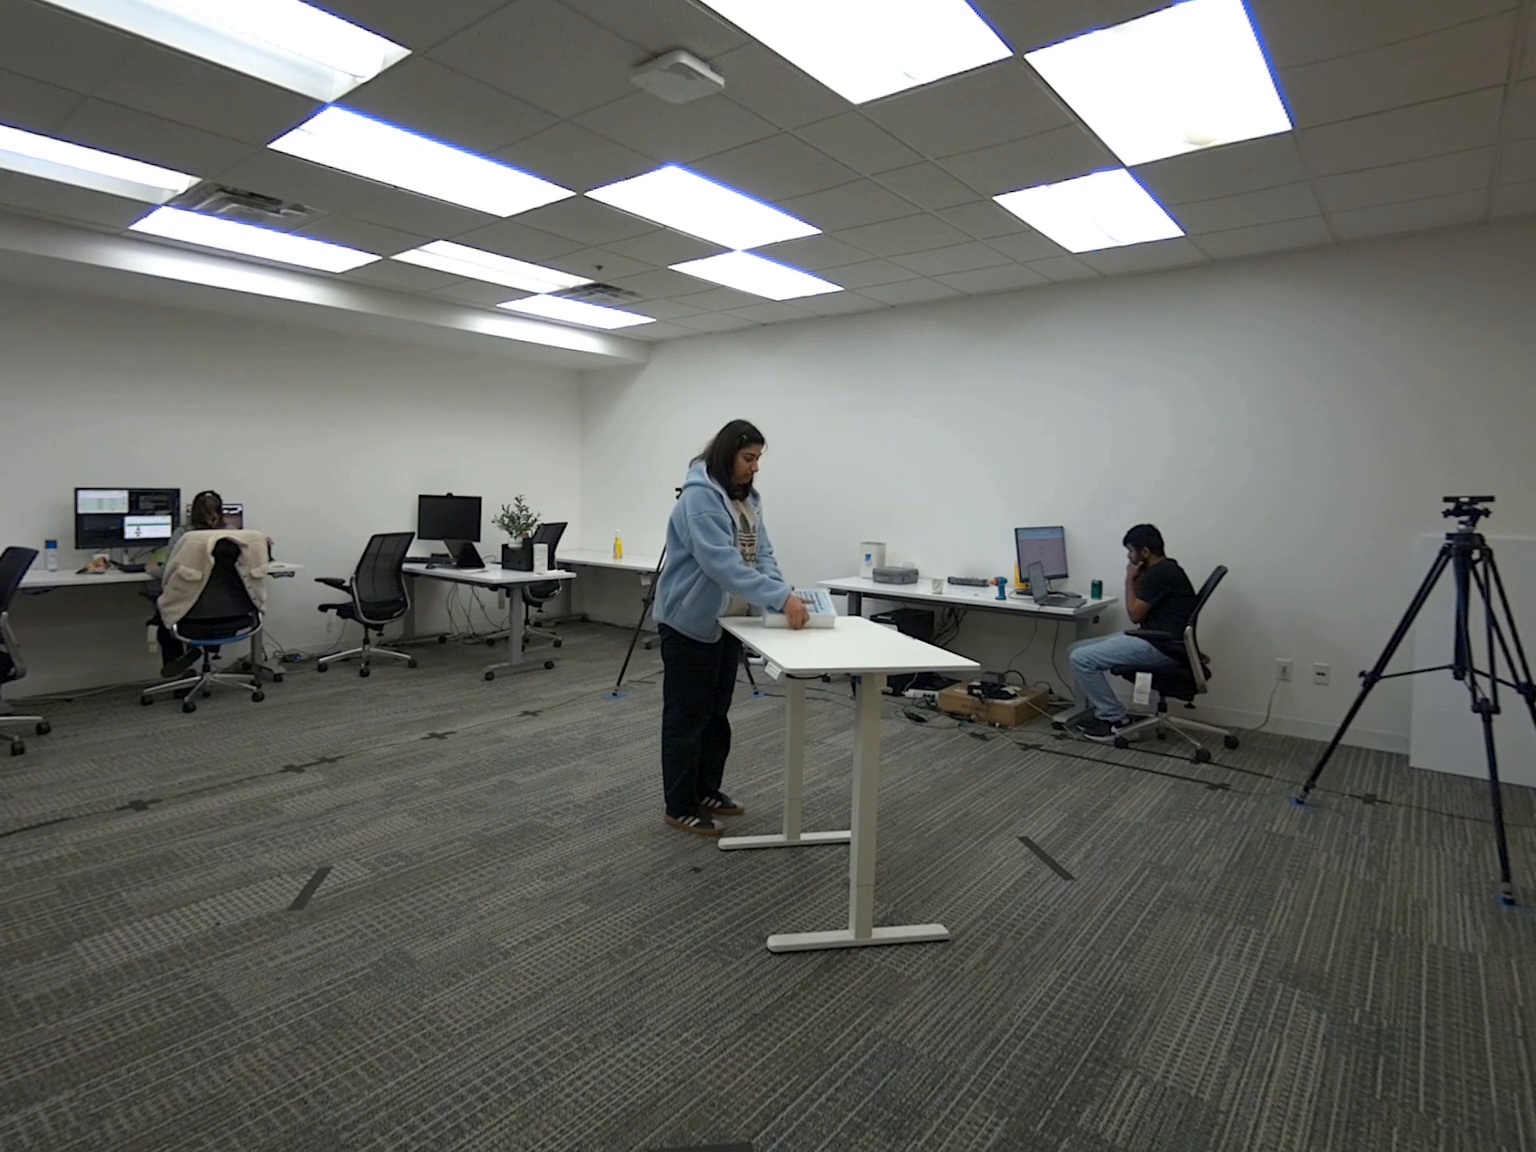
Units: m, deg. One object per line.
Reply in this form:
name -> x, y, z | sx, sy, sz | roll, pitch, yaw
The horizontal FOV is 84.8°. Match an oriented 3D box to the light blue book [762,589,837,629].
light blue book -> 0.099, 0.117, 3.196 | 0.259, 0.058, 0.197 | 1, 29, -6
